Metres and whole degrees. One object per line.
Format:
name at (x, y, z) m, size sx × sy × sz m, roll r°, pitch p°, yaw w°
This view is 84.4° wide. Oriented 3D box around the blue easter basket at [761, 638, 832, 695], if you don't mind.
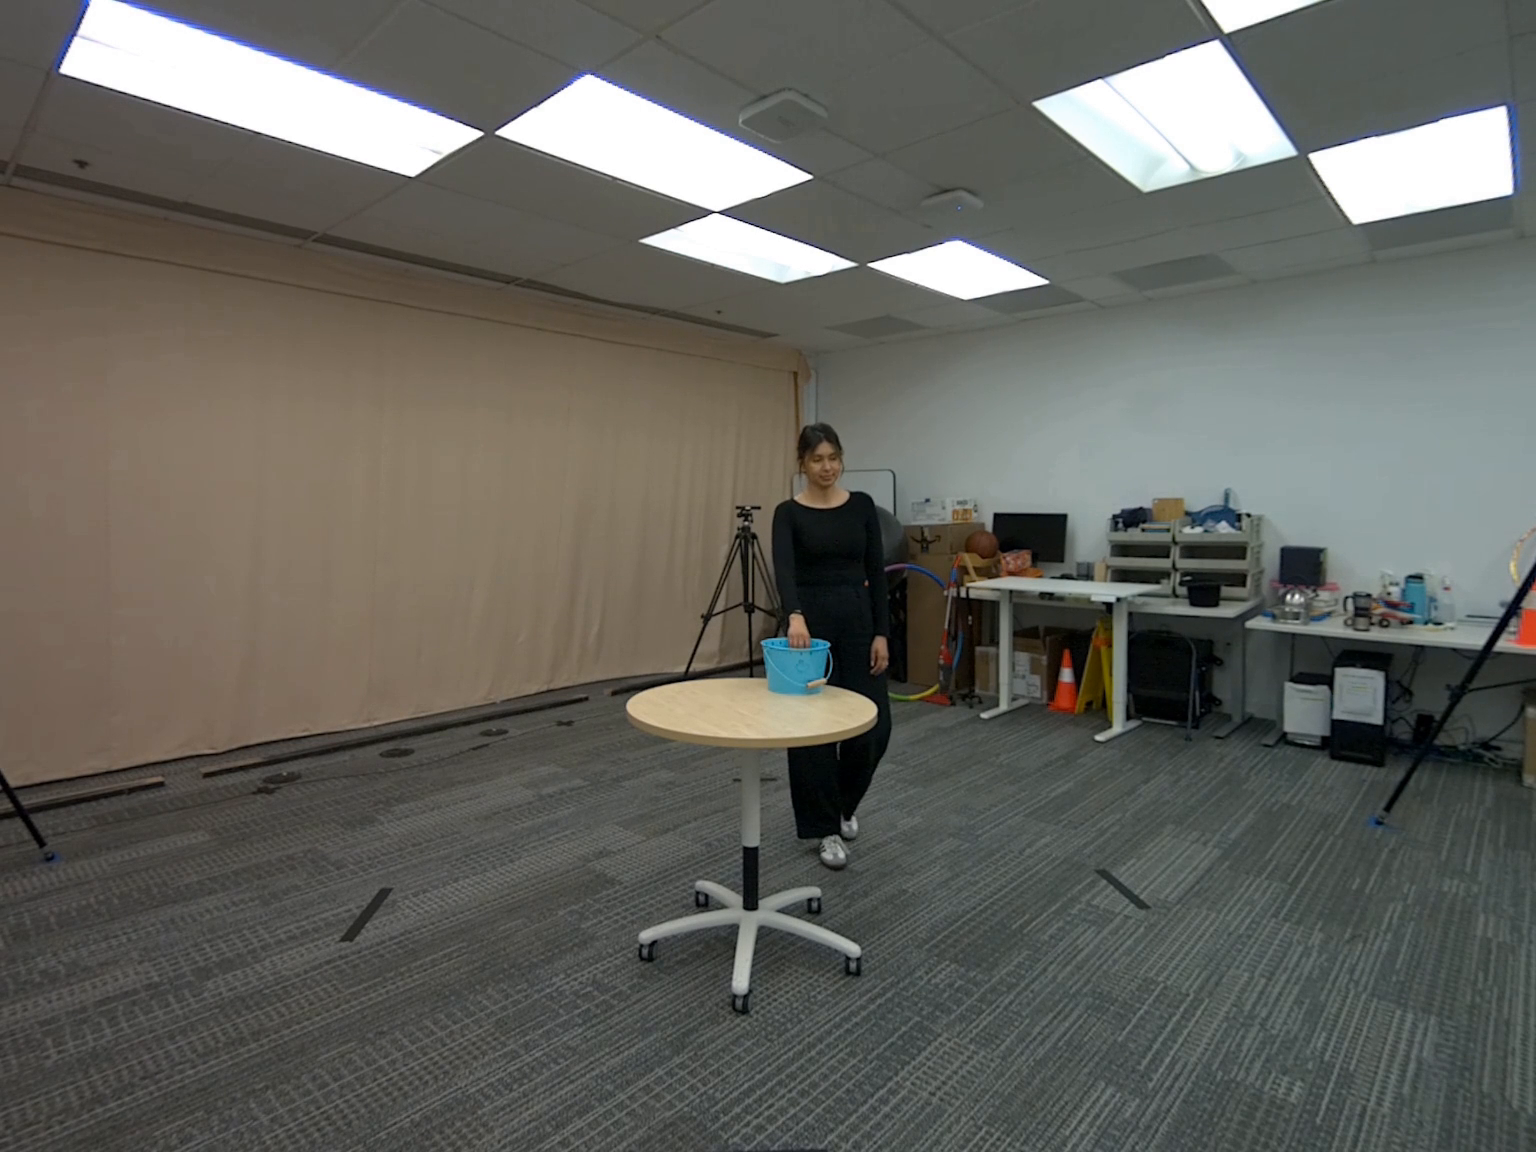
blue easter basket at (0.093, 0.307, 2.792) m, size 0.243 × 0.156 × 0.244 m, roll -2°, pitch 3°, yaw -2°
